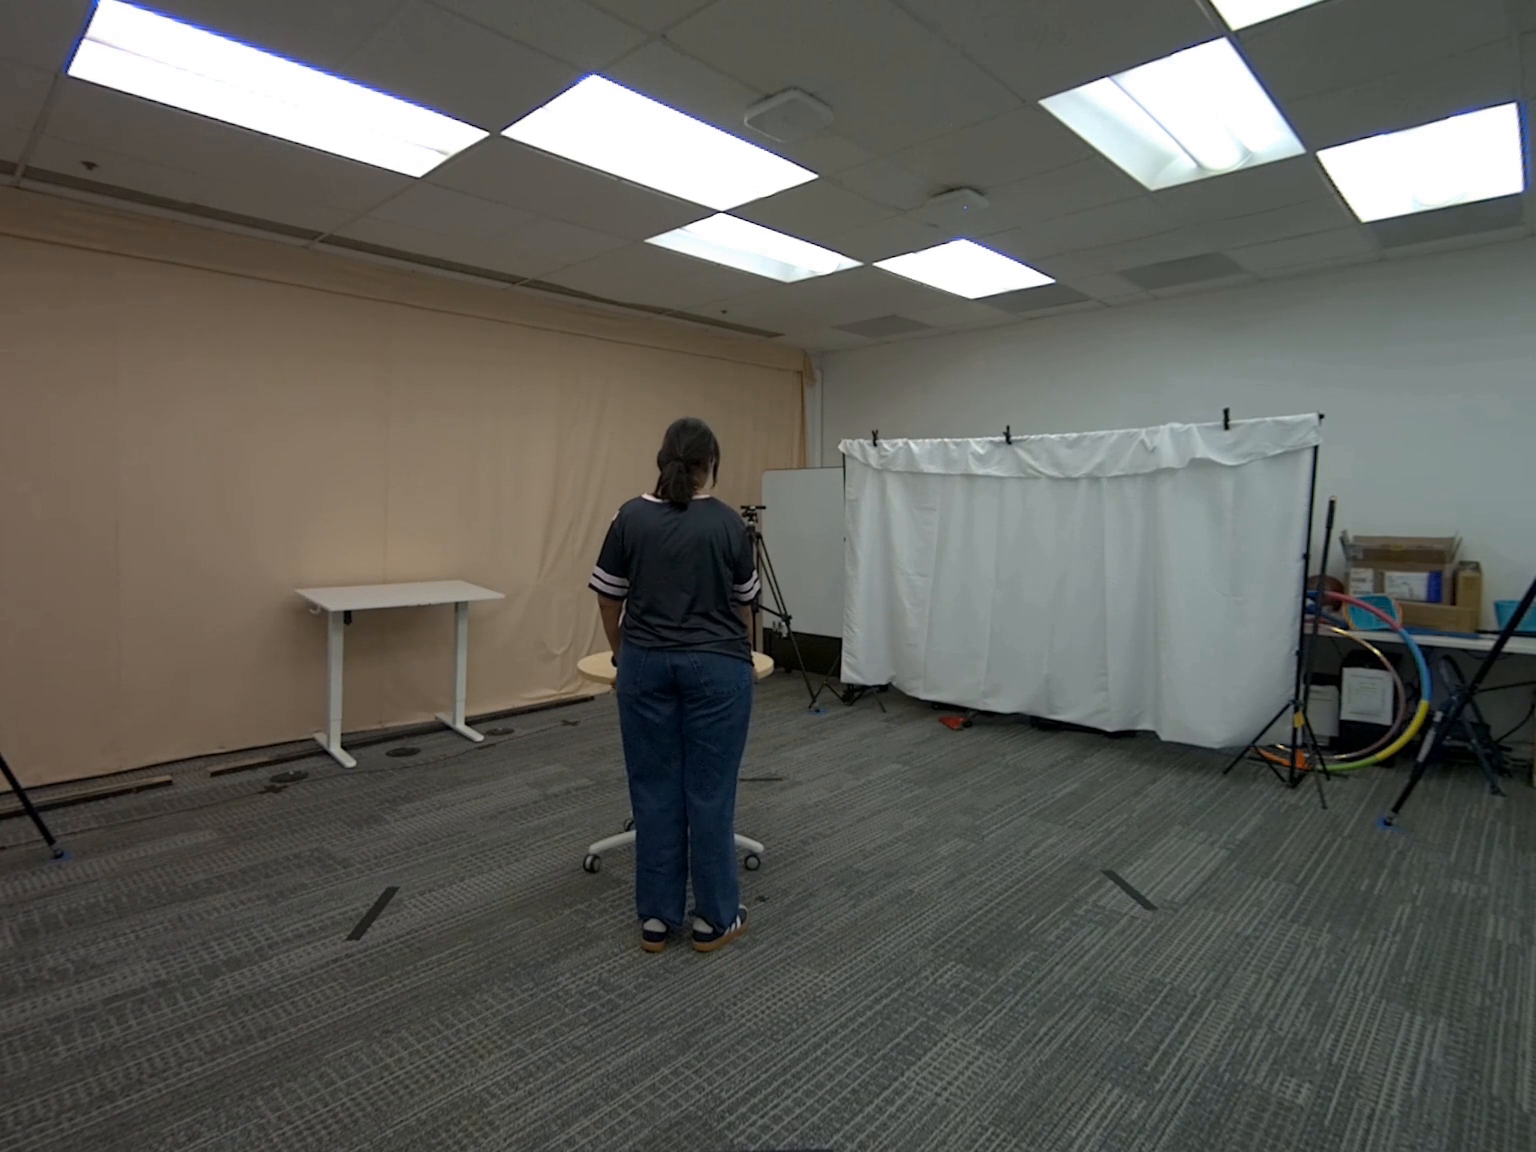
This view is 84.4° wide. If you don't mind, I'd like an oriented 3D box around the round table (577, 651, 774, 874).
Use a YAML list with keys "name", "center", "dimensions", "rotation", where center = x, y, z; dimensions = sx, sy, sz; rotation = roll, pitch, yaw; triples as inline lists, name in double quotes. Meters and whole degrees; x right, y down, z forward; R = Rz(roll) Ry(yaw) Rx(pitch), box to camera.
- name: "round table"
  center: [-0.360, 0.725, 3.305]
  dimensions: [0.784, 0.785, 0.787]
  rotation: [0, 3, -2]
